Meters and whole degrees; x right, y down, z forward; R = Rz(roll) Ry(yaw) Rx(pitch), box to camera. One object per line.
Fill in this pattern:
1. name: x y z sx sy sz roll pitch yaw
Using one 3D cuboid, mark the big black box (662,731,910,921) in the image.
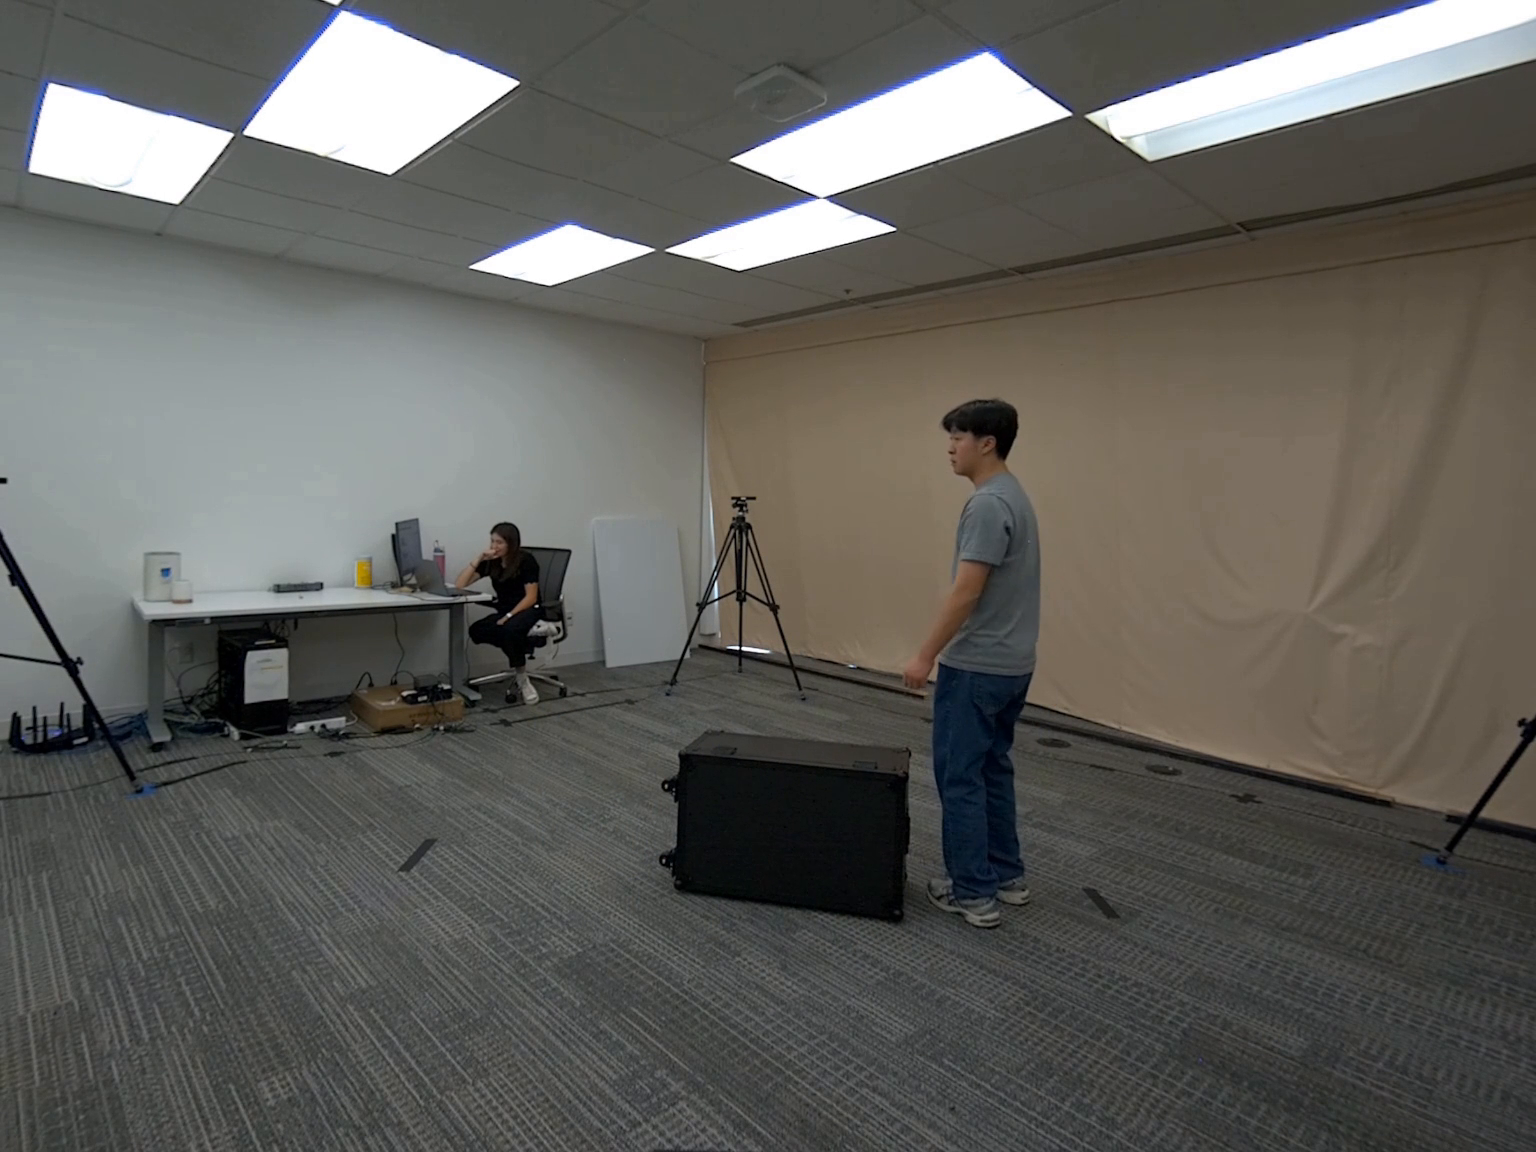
1. big black box: 0.125 0.863 3.026 0.872 0.520 0.392 3 3 14
